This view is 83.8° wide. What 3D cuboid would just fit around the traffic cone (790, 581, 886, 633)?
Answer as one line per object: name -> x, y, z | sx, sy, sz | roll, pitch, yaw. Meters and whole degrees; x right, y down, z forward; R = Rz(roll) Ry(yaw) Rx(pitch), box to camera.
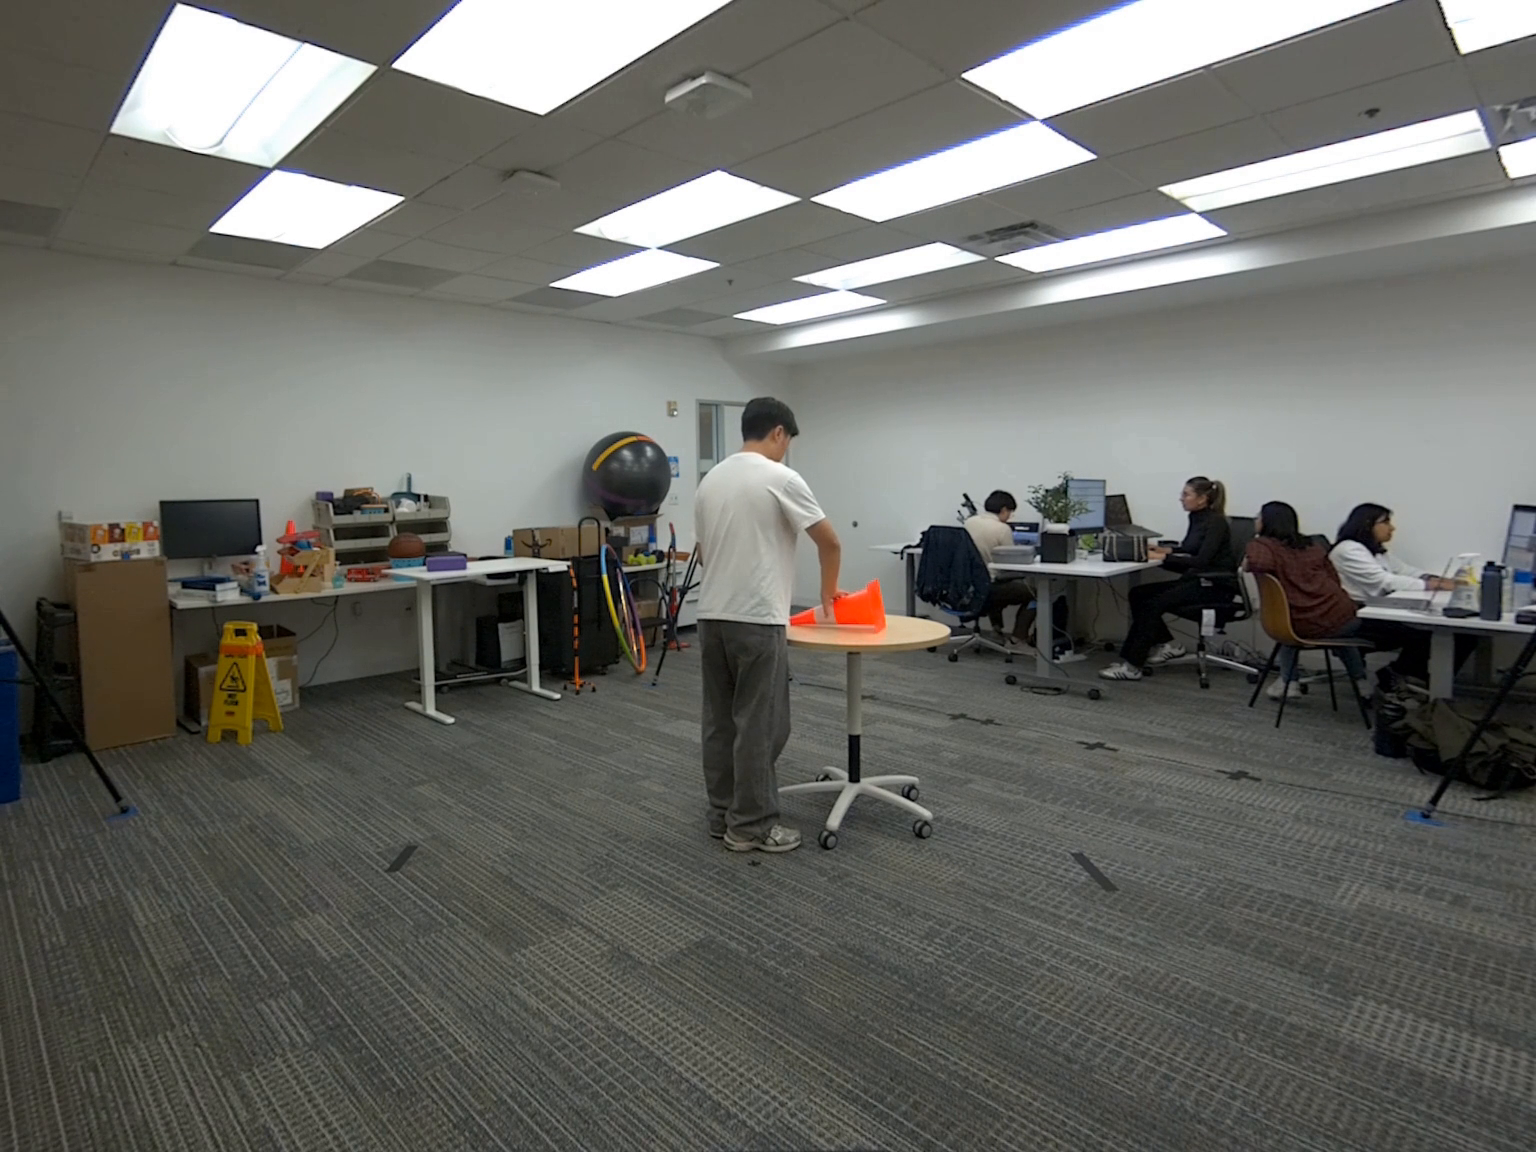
traffic cone -> 0.265, 0.149, 3.515 | 0.390, 0.203, 0.202 | -10, 2, 23
